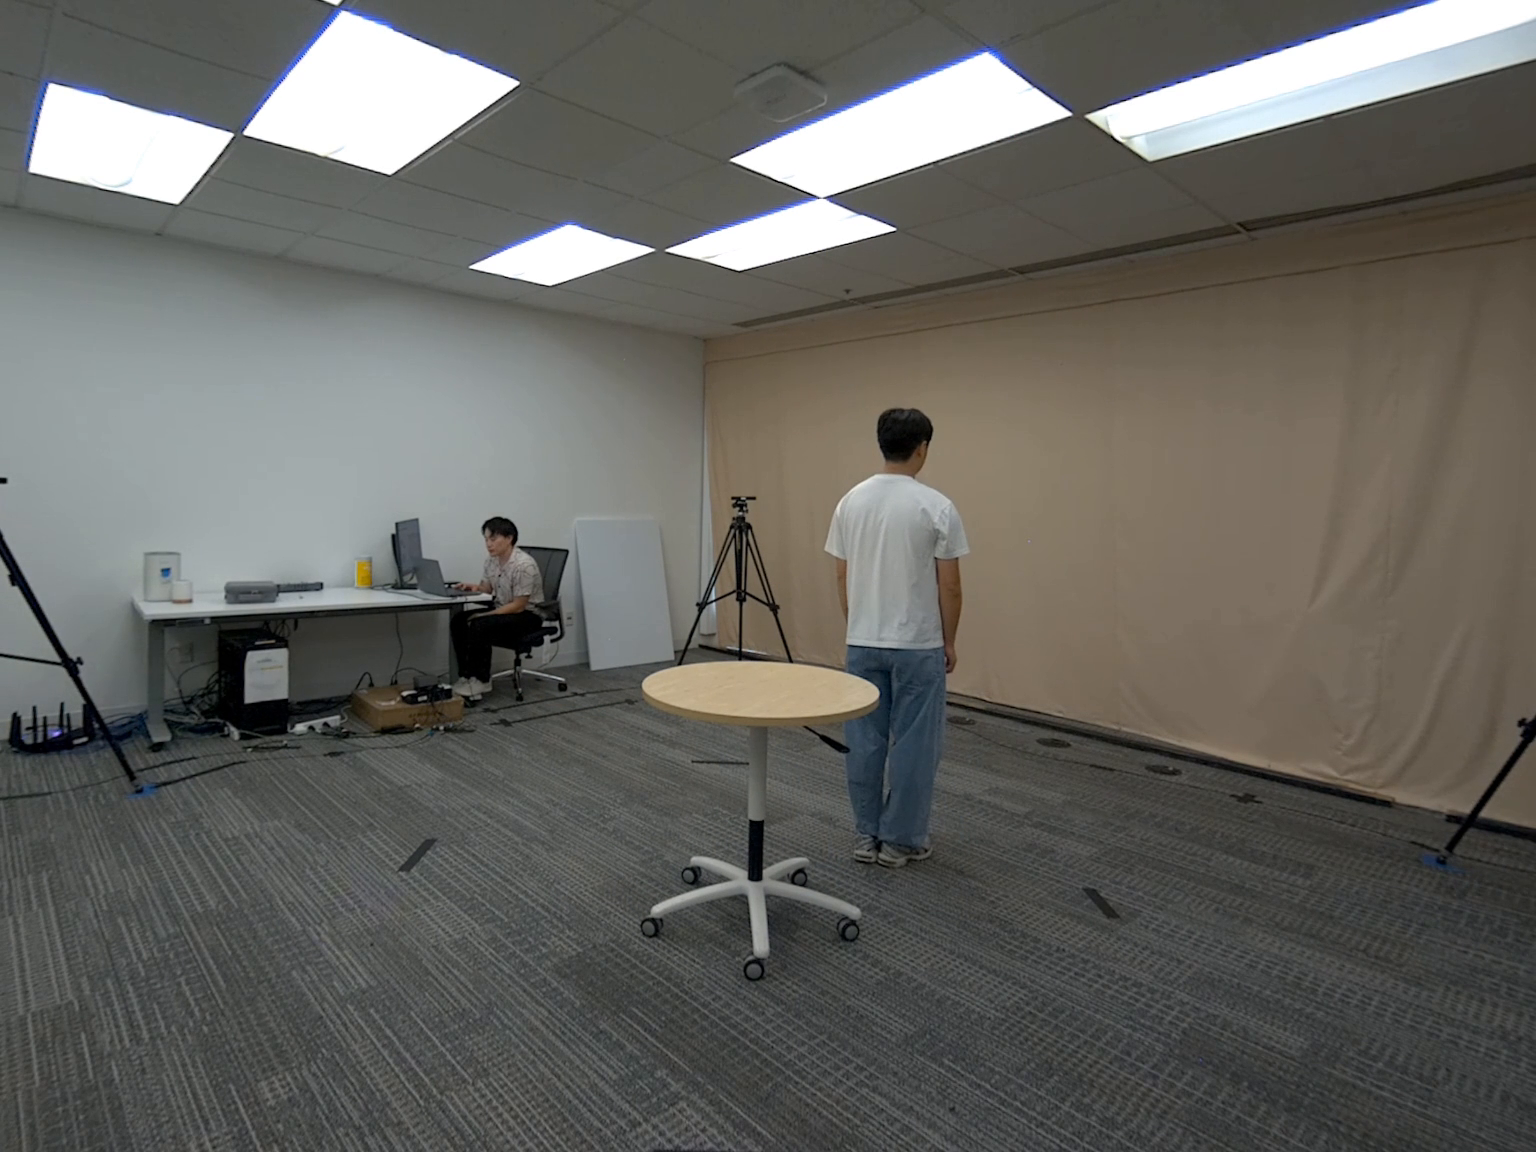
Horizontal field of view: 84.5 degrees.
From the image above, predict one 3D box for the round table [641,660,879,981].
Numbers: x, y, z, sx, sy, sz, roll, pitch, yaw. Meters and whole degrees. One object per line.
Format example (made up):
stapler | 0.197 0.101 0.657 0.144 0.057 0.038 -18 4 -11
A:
round table | -0.052 0.750 2.753 0.763 0.791 0.767 2 5 -1
